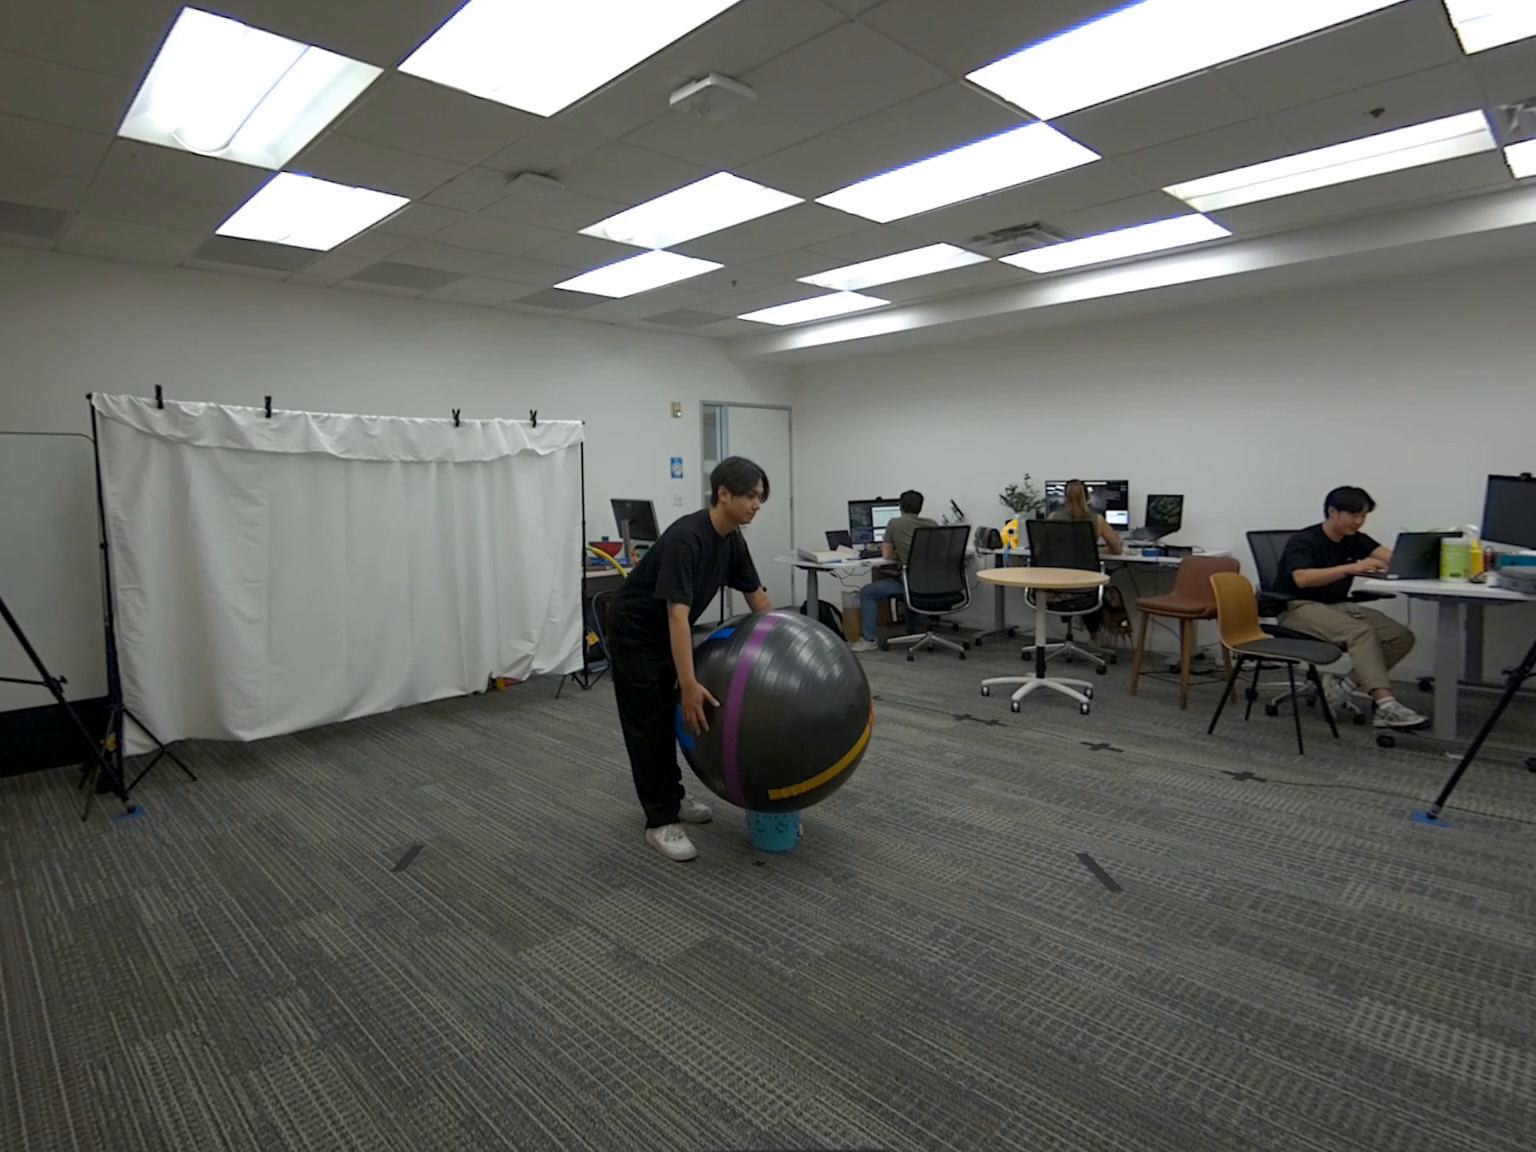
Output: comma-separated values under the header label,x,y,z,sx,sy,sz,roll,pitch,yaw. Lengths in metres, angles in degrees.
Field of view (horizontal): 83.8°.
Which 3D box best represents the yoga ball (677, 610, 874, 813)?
label,x,y,z,sx,sy,sz,roll,pitch,yaw
yoga ball,0.023,0.515,3.279,0.757,0.755,0.762,-1,5,-2
